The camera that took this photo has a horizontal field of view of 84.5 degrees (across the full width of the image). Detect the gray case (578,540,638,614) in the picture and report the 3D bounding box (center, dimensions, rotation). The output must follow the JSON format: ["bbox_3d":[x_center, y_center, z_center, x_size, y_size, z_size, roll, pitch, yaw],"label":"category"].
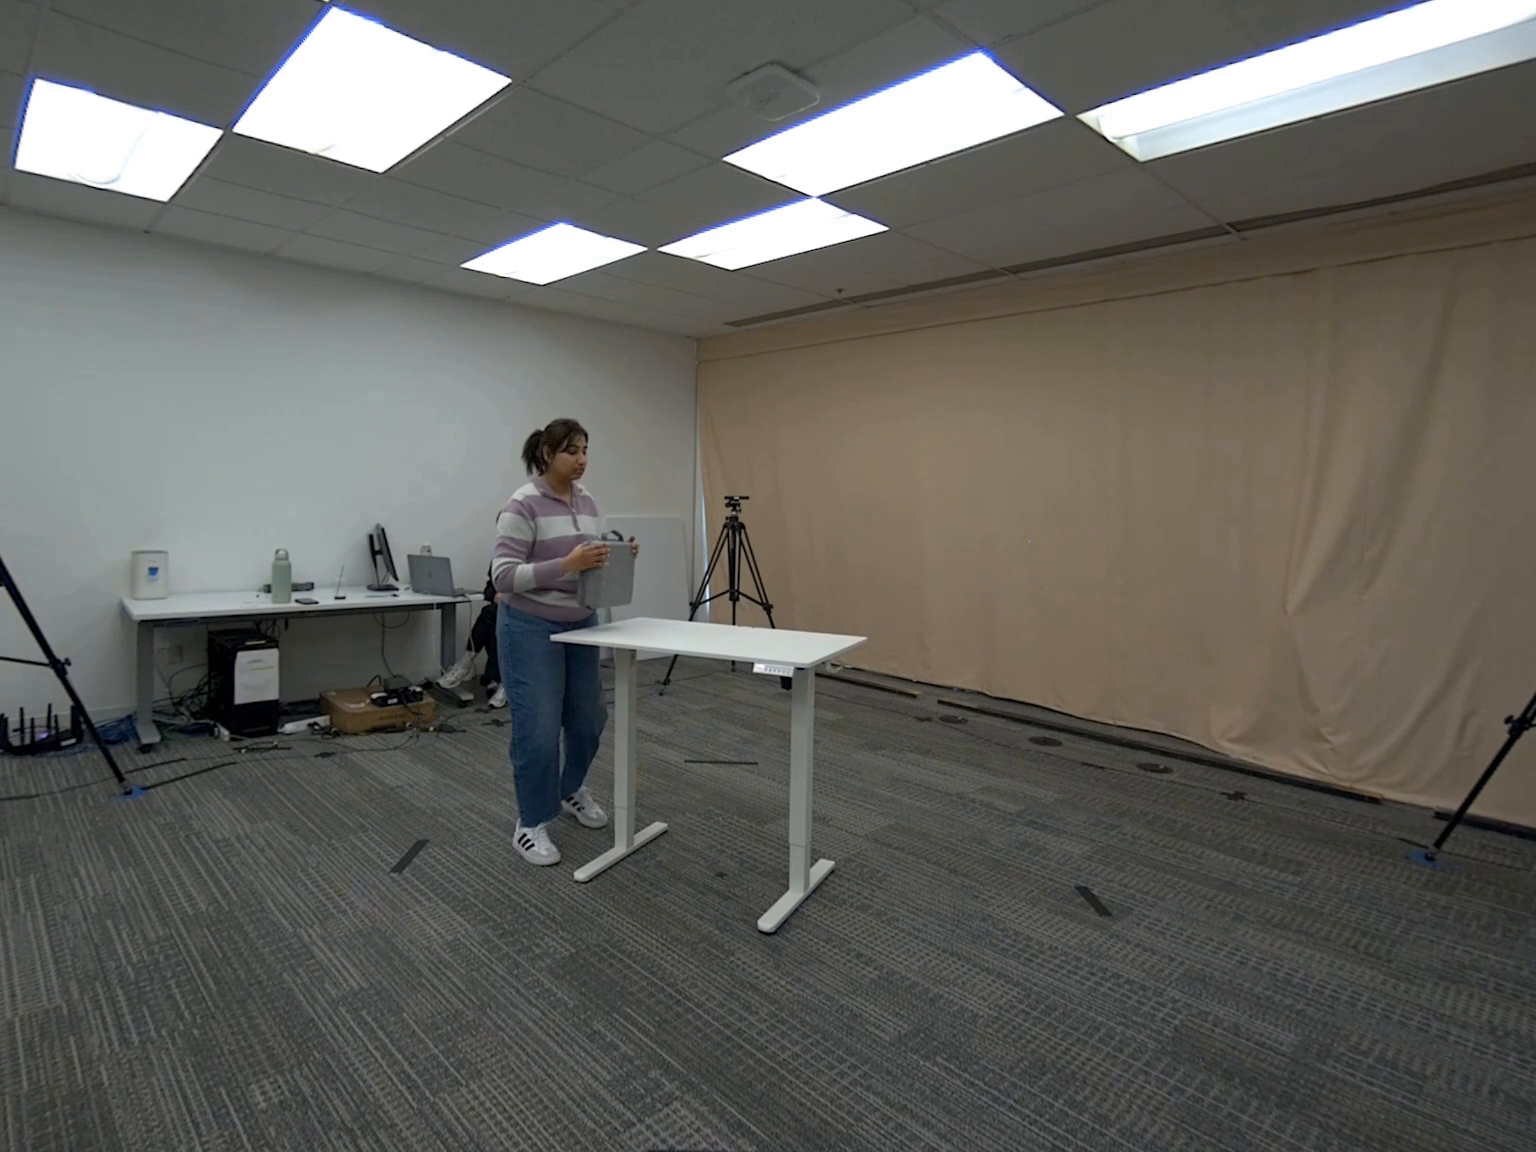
[{"bbox_3d":[-0.611,-0.003,3.187,0.106,0.260,0.252,4,1,20],"label":"gray case"}]
